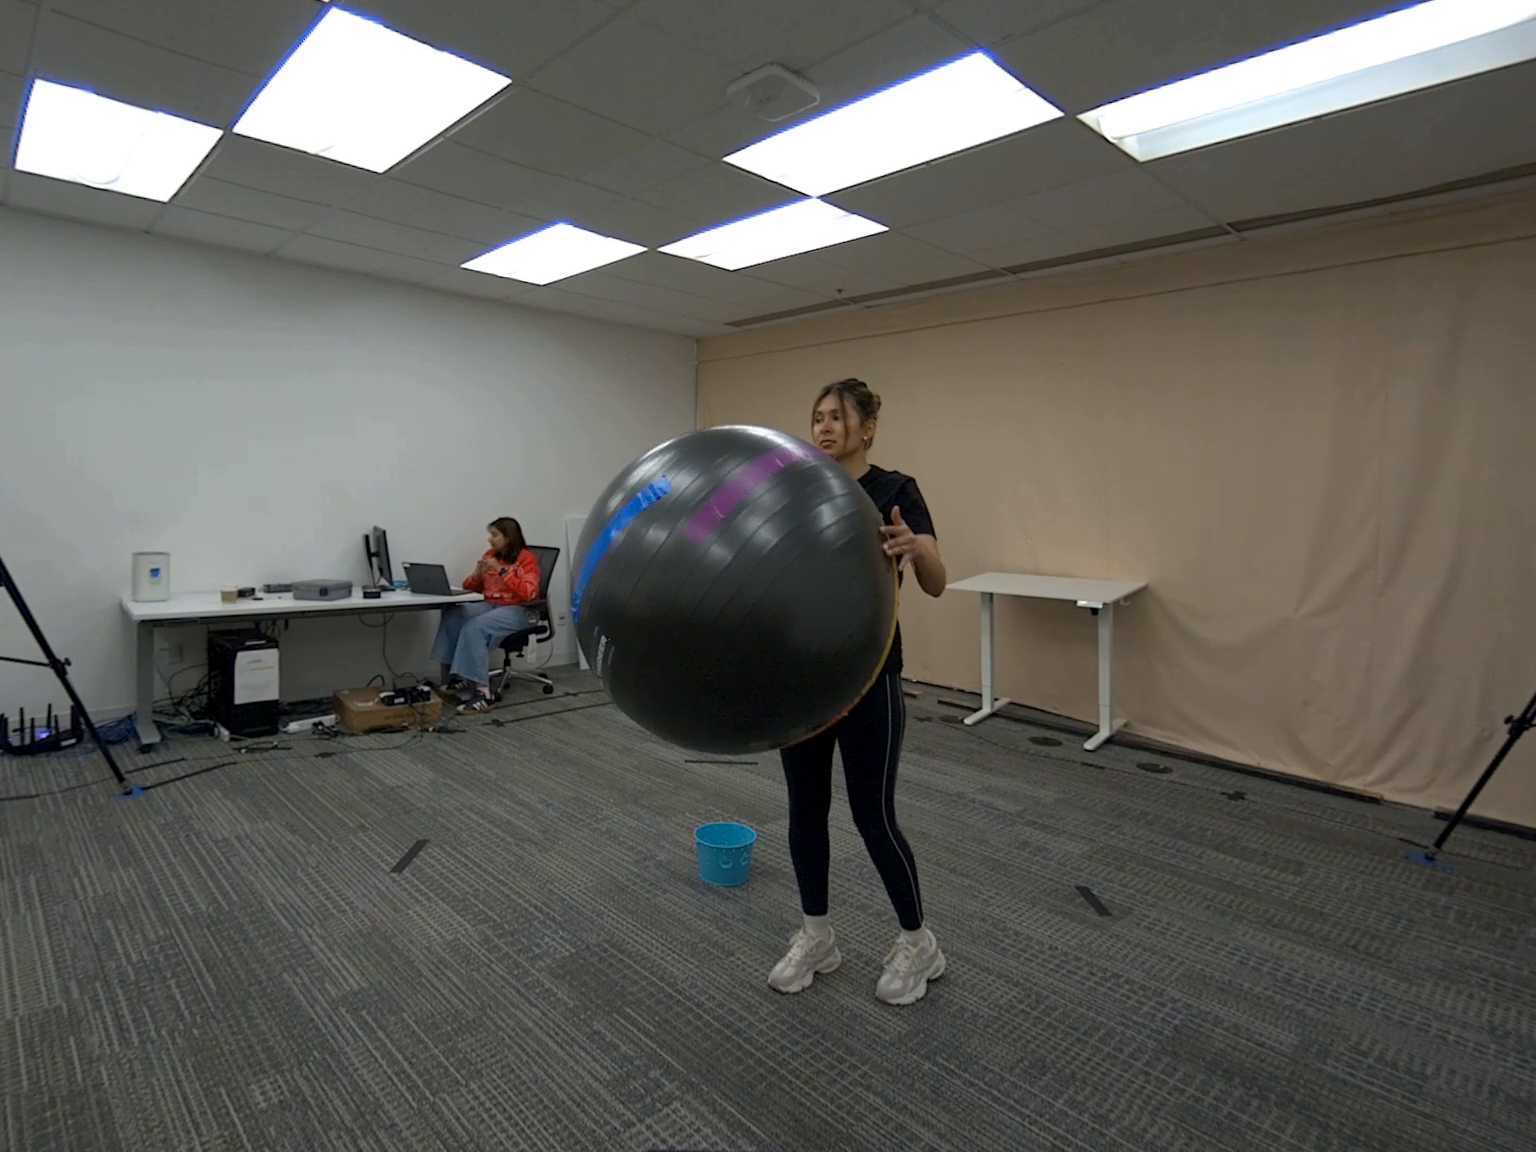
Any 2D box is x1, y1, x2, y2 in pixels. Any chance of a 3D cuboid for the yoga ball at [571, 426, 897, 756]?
[{"bbox_3d":[-0.081,0.035,1.956,0.757,0.756,0.761,1,4,-1],"label":"yoga ball"}]
